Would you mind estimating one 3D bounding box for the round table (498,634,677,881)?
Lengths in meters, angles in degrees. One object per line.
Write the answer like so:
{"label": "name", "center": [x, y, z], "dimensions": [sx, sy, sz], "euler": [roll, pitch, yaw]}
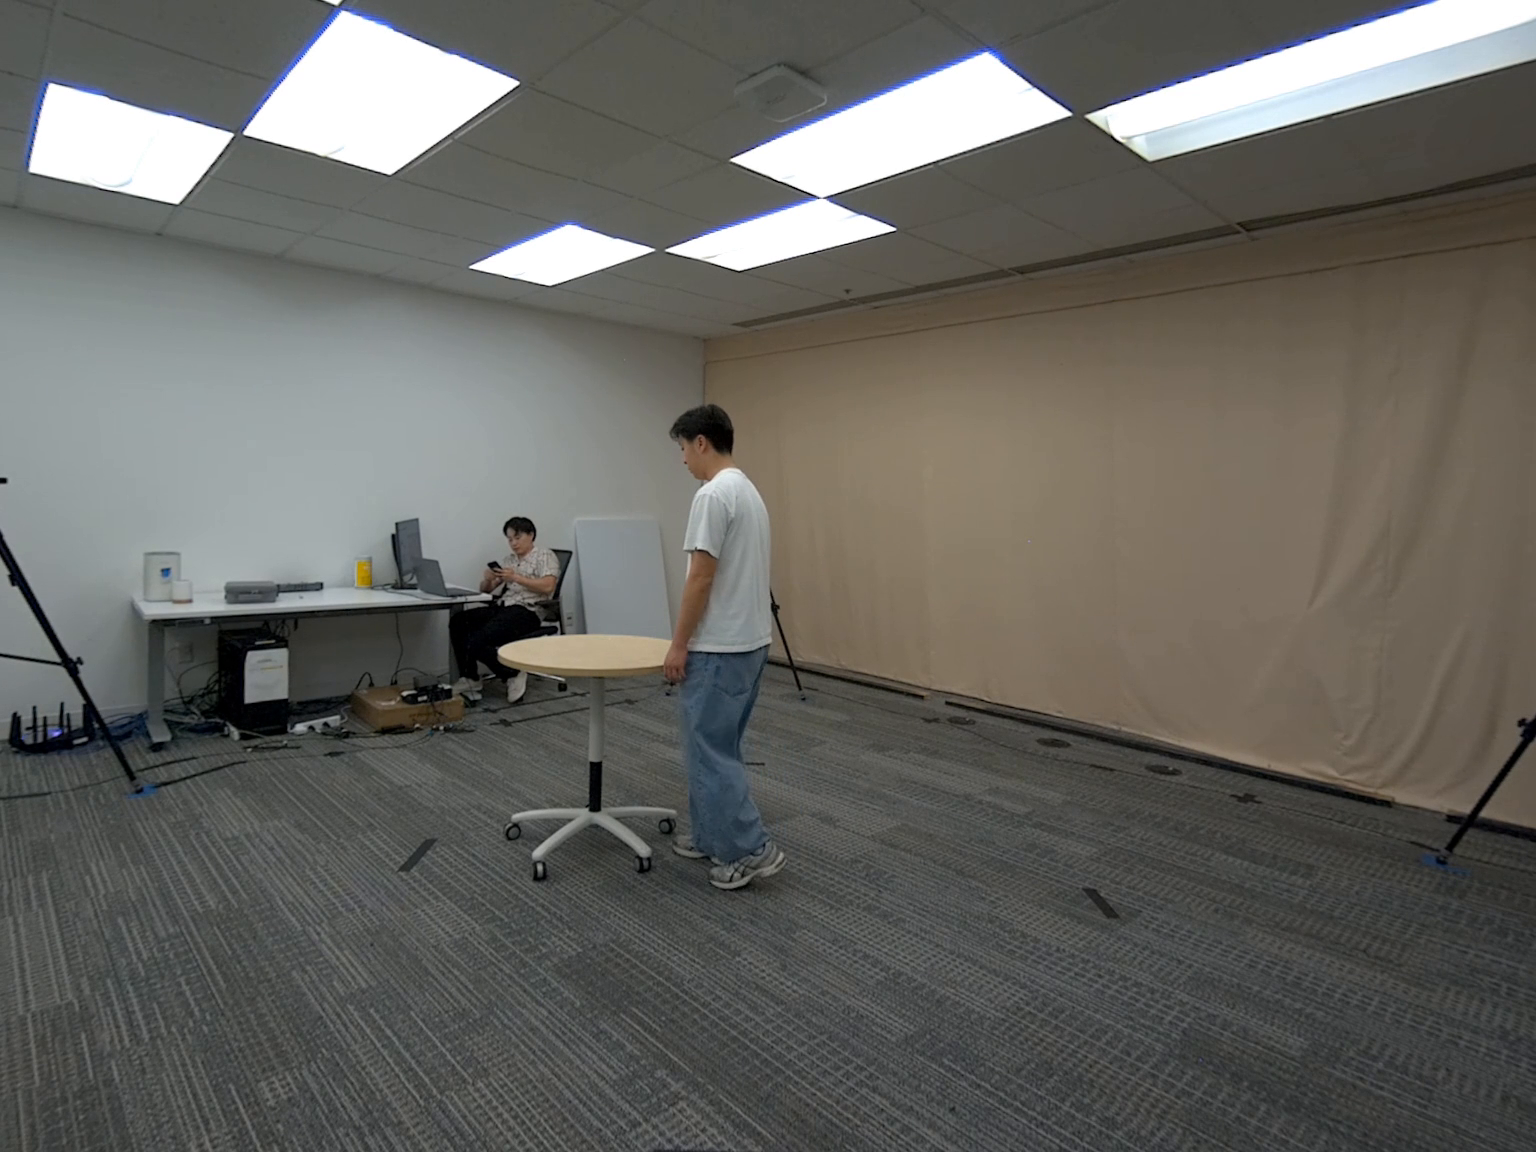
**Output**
{"label": "round table", "center": [-0.683, 0.682, 3.328], "dimensions": [0.763, 0.792, 0.766], "euler": [2, 4, -1]}
